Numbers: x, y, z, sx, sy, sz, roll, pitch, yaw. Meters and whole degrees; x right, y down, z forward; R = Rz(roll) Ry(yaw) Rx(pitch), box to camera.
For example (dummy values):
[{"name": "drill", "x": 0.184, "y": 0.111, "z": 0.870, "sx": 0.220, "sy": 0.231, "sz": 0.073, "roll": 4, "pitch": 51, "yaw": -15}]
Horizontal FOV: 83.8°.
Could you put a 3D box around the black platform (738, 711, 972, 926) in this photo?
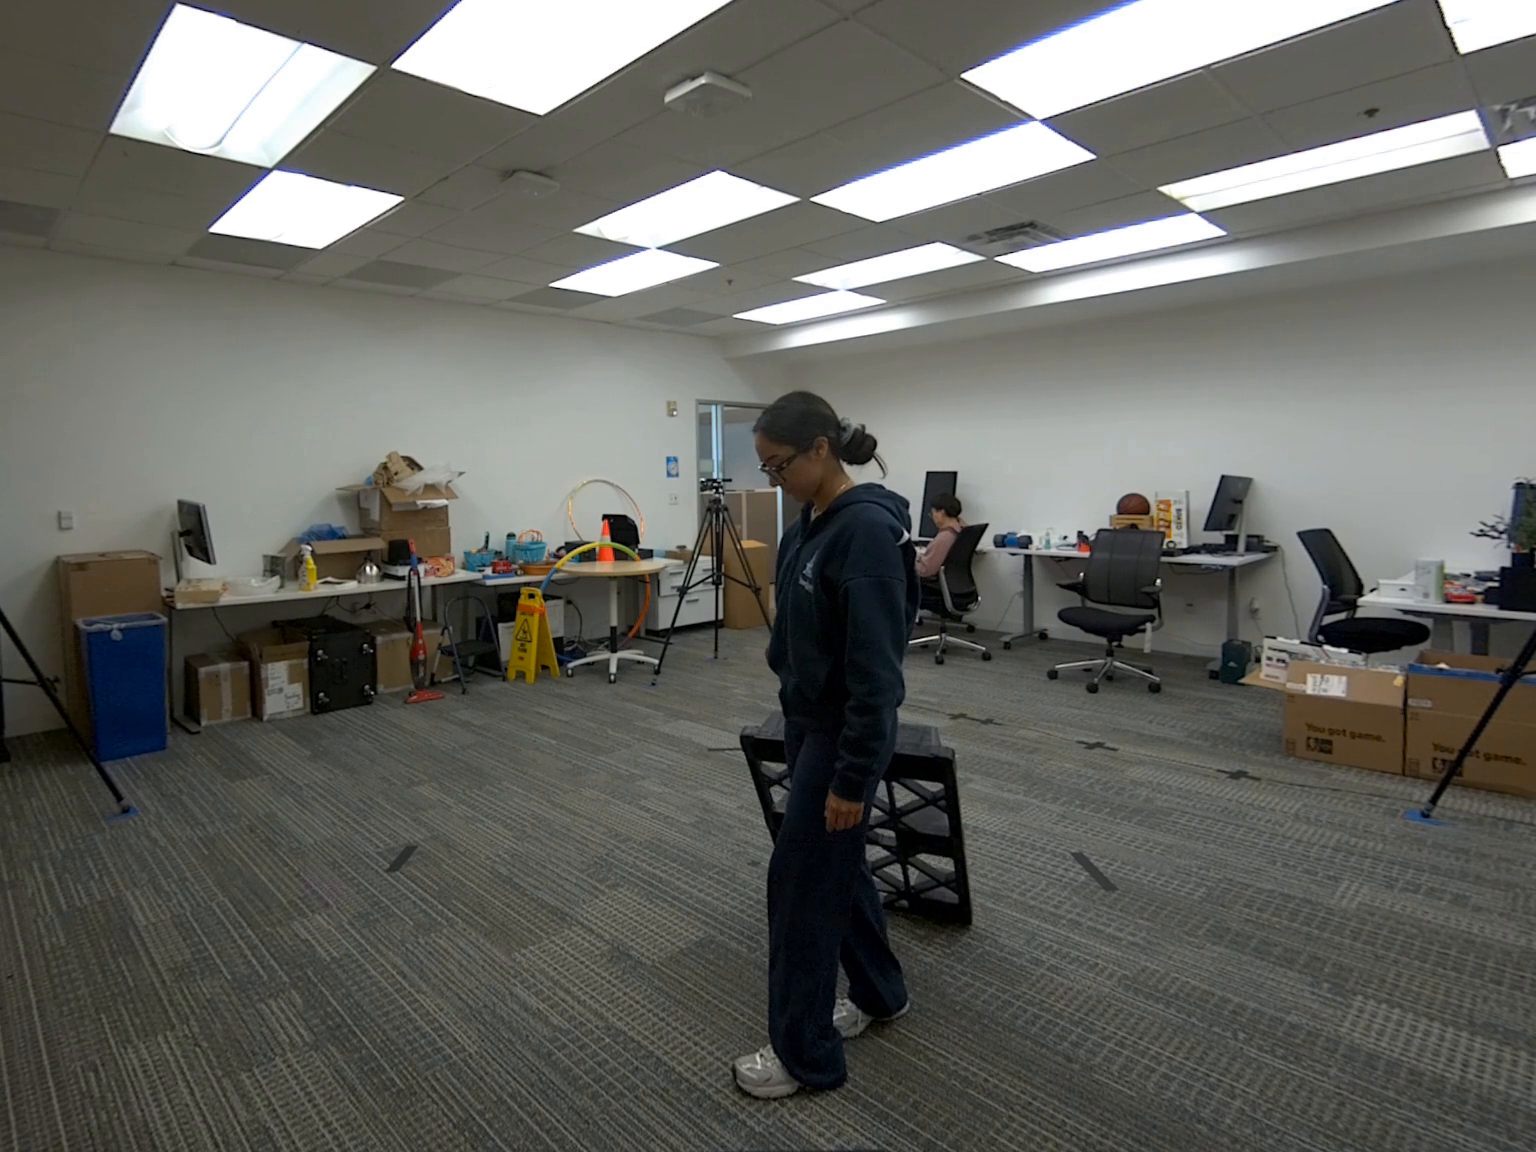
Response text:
[{"name": "black platform", "x": 0.287, "y": 0.735, "z": 2.578, "sx": 0.618, "sy": 0.781, "sz": 0.145, "roll": 3, "pitch": 38, "yaw": 23}]
